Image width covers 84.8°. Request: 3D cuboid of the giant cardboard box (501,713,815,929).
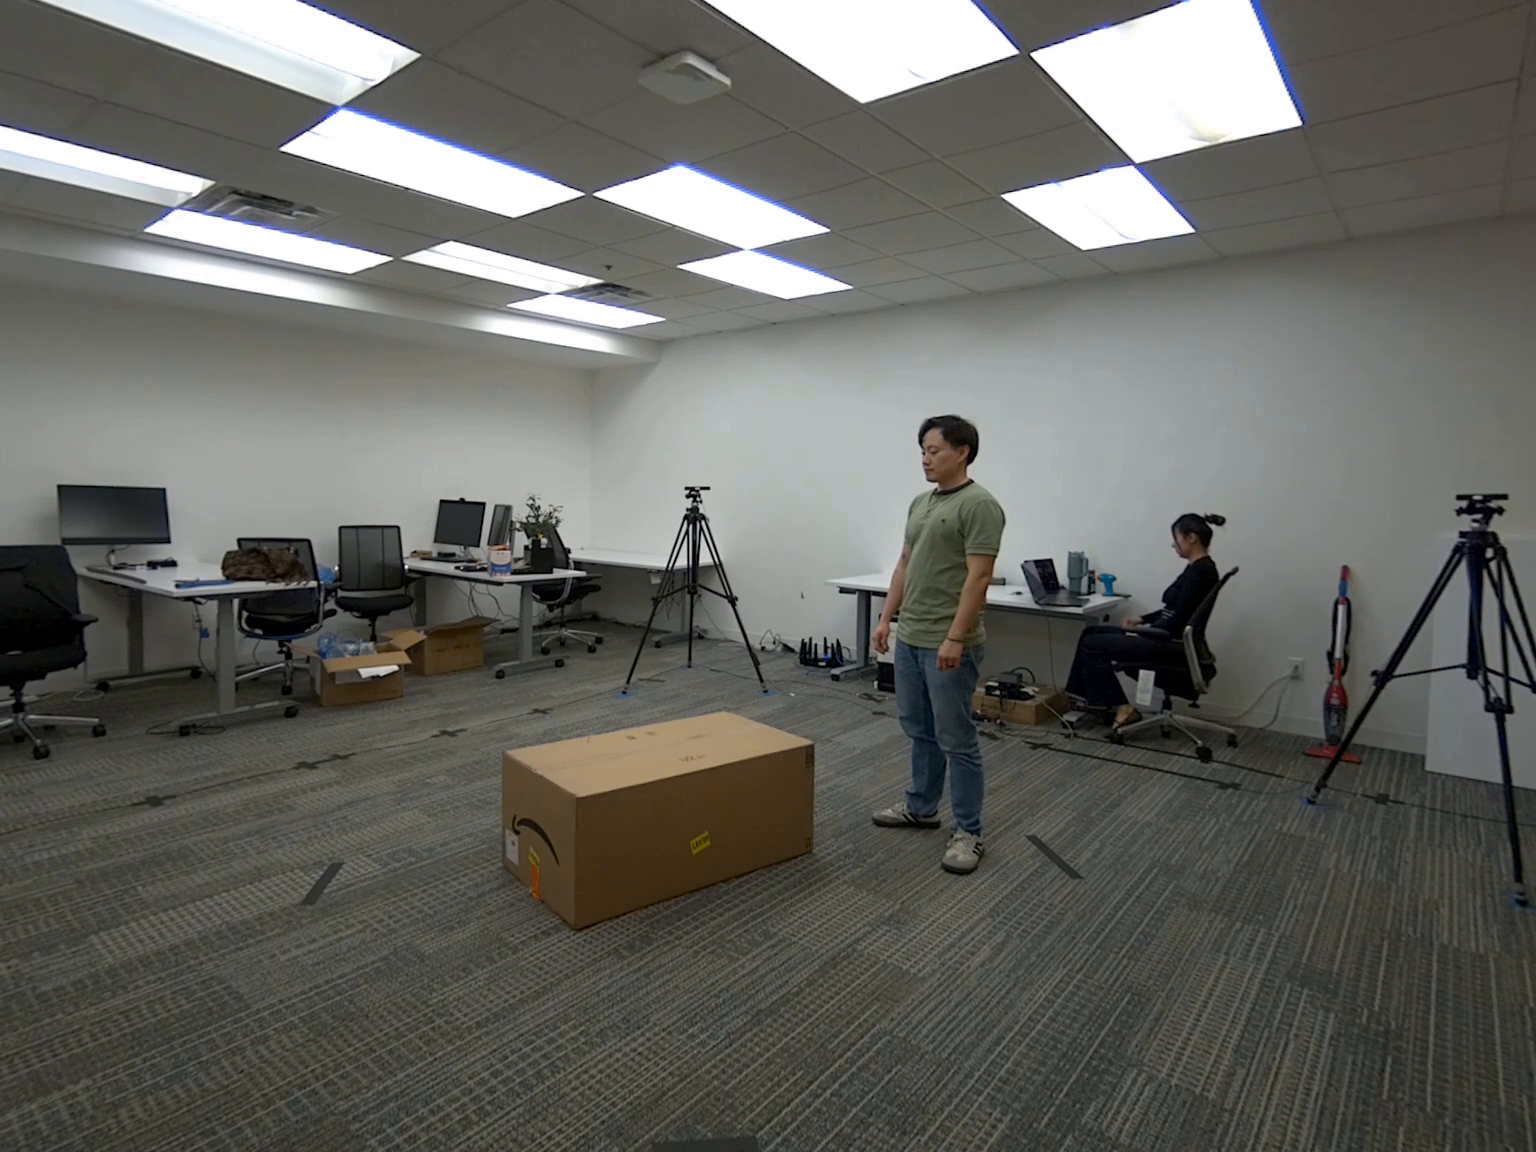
[{"bbox_3d":[-0.404,0.845,3.167,0.996,0.425,0.597,-3,6,-39],"label":"giant cardboard box"}]
